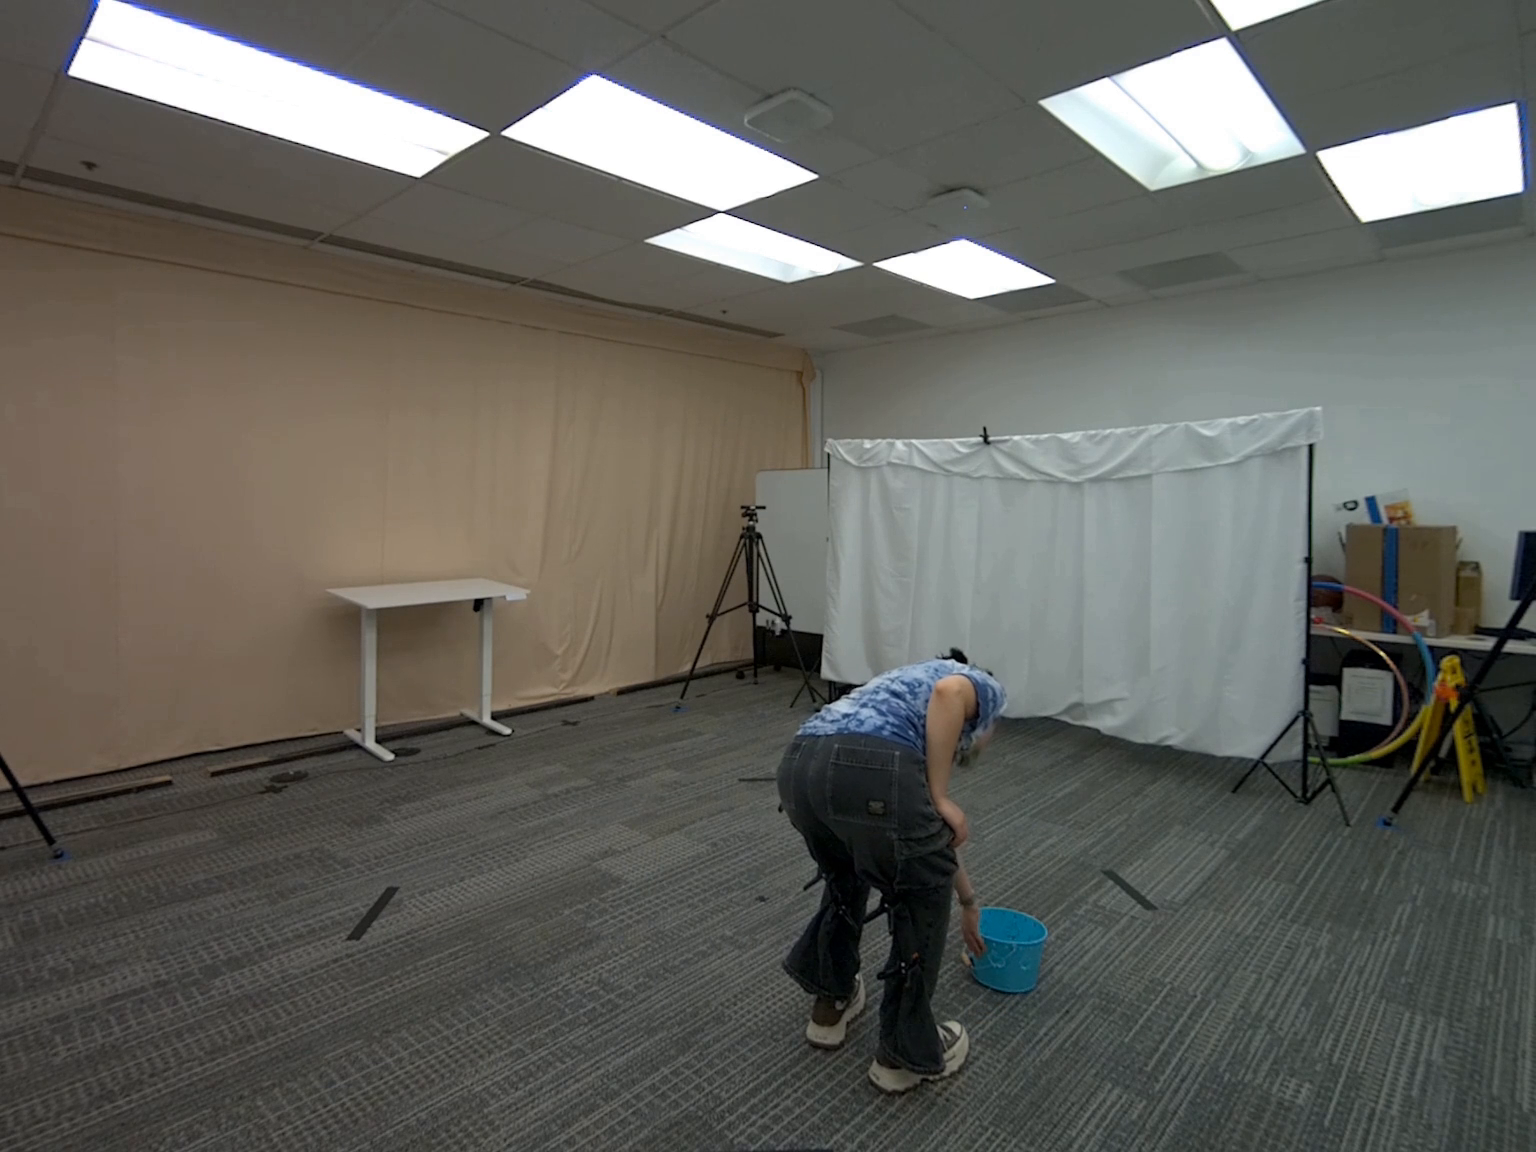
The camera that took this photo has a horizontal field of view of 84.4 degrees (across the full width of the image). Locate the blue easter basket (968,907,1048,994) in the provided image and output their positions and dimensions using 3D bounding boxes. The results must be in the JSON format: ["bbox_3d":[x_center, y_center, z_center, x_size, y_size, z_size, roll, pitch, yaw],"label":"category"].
[{"bbox_3d":[0.697,1.103,2.484,0.243,0.156,0.244,1,2,-2],"label":"blue easter basket"}]
